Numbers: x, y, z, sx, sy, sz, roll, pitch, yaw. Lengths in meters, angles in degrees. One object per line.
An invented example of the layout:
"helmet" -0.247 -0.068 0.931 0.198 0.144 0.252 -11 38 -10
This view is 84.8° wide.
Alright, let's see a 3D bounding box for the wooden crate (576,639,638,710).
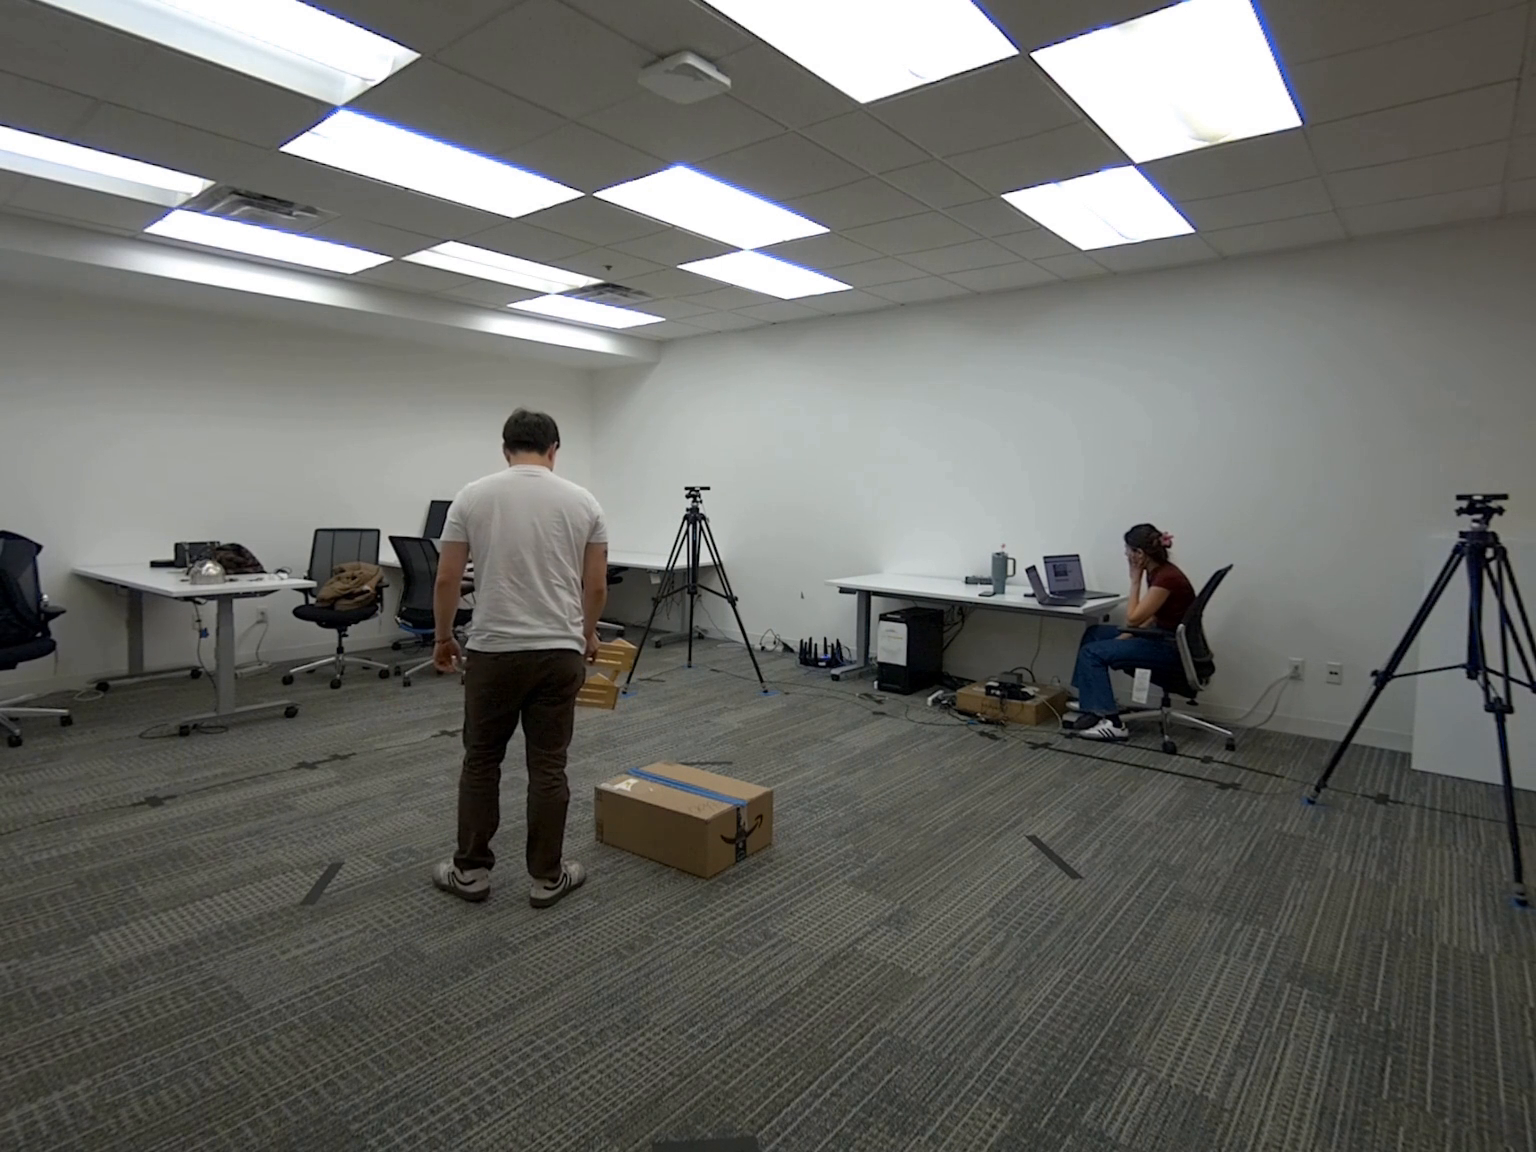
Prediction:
"wooden crate" -0.737 0.337 3.268 0.314 0.273 0.313 13 4 -33
